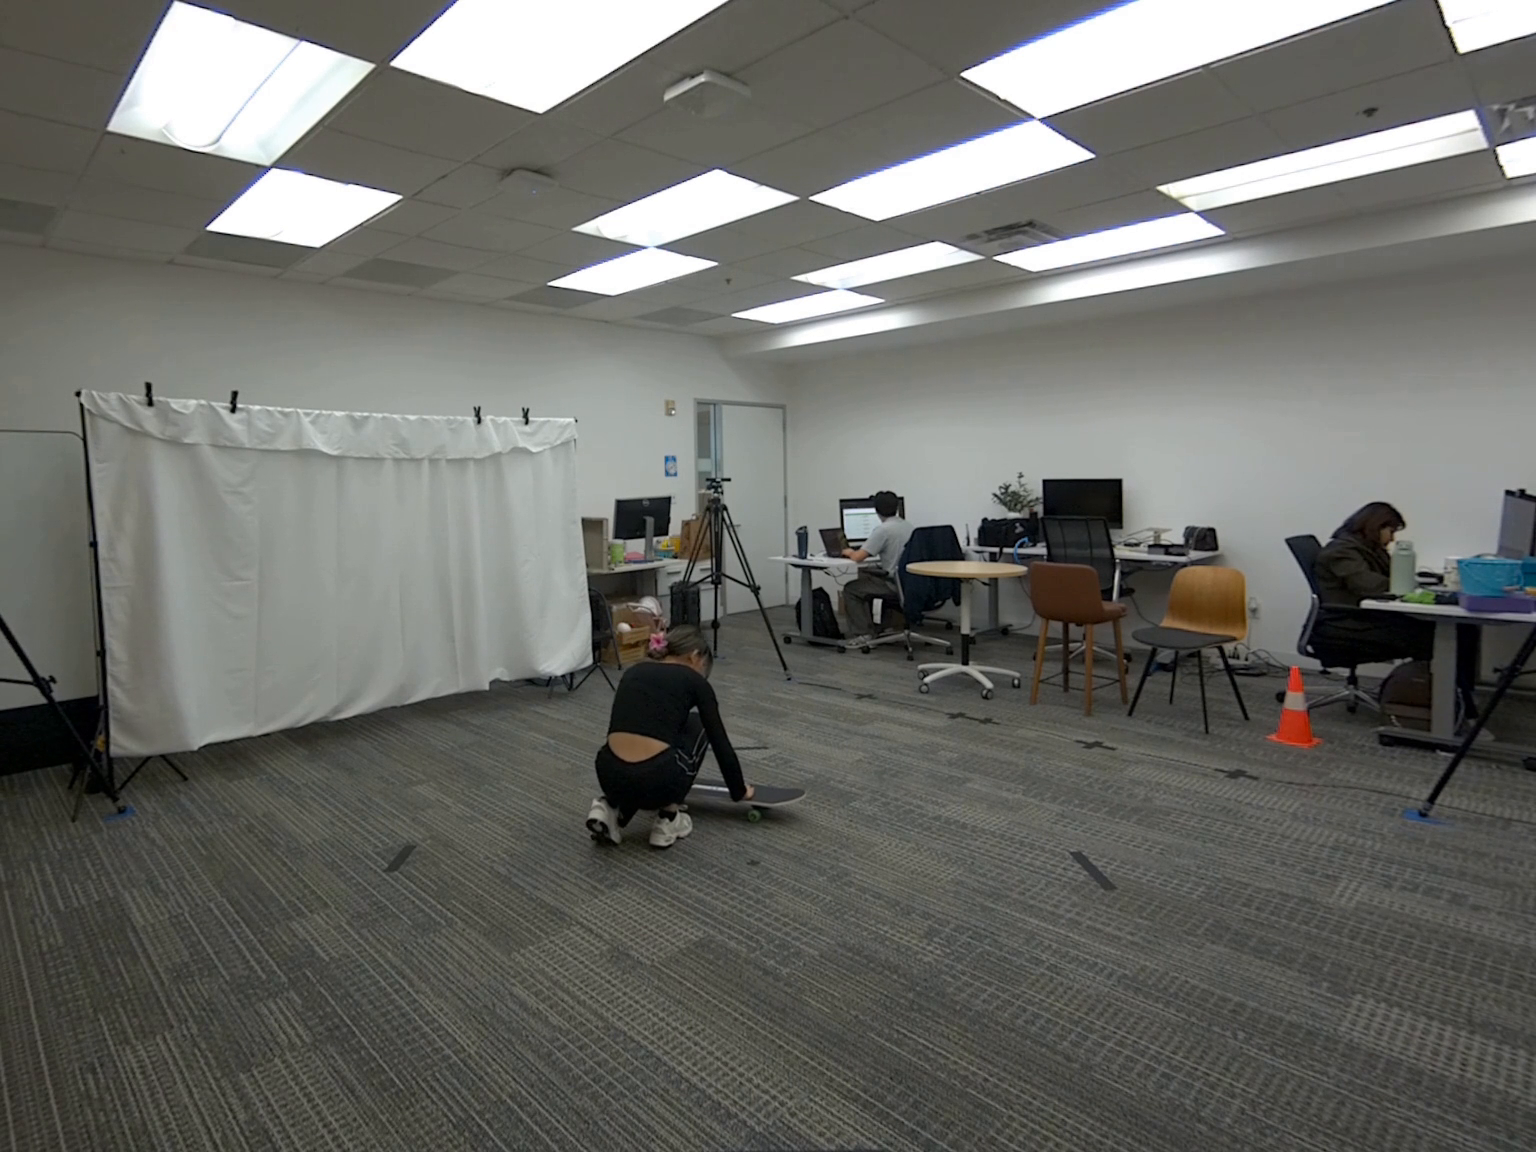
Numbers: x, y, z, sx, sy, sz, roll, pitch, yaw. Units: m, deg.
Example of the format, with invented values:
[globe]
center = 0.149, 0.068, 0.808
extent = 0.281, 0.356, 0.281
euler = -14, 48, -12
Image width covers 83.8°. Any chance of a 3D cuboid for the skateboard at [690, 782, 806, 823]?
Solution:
[skateboard]
center = -0.220, 0.924, 3.607
extent = 0.800, 0.110, 0.191
euler = 1, 7, 20
